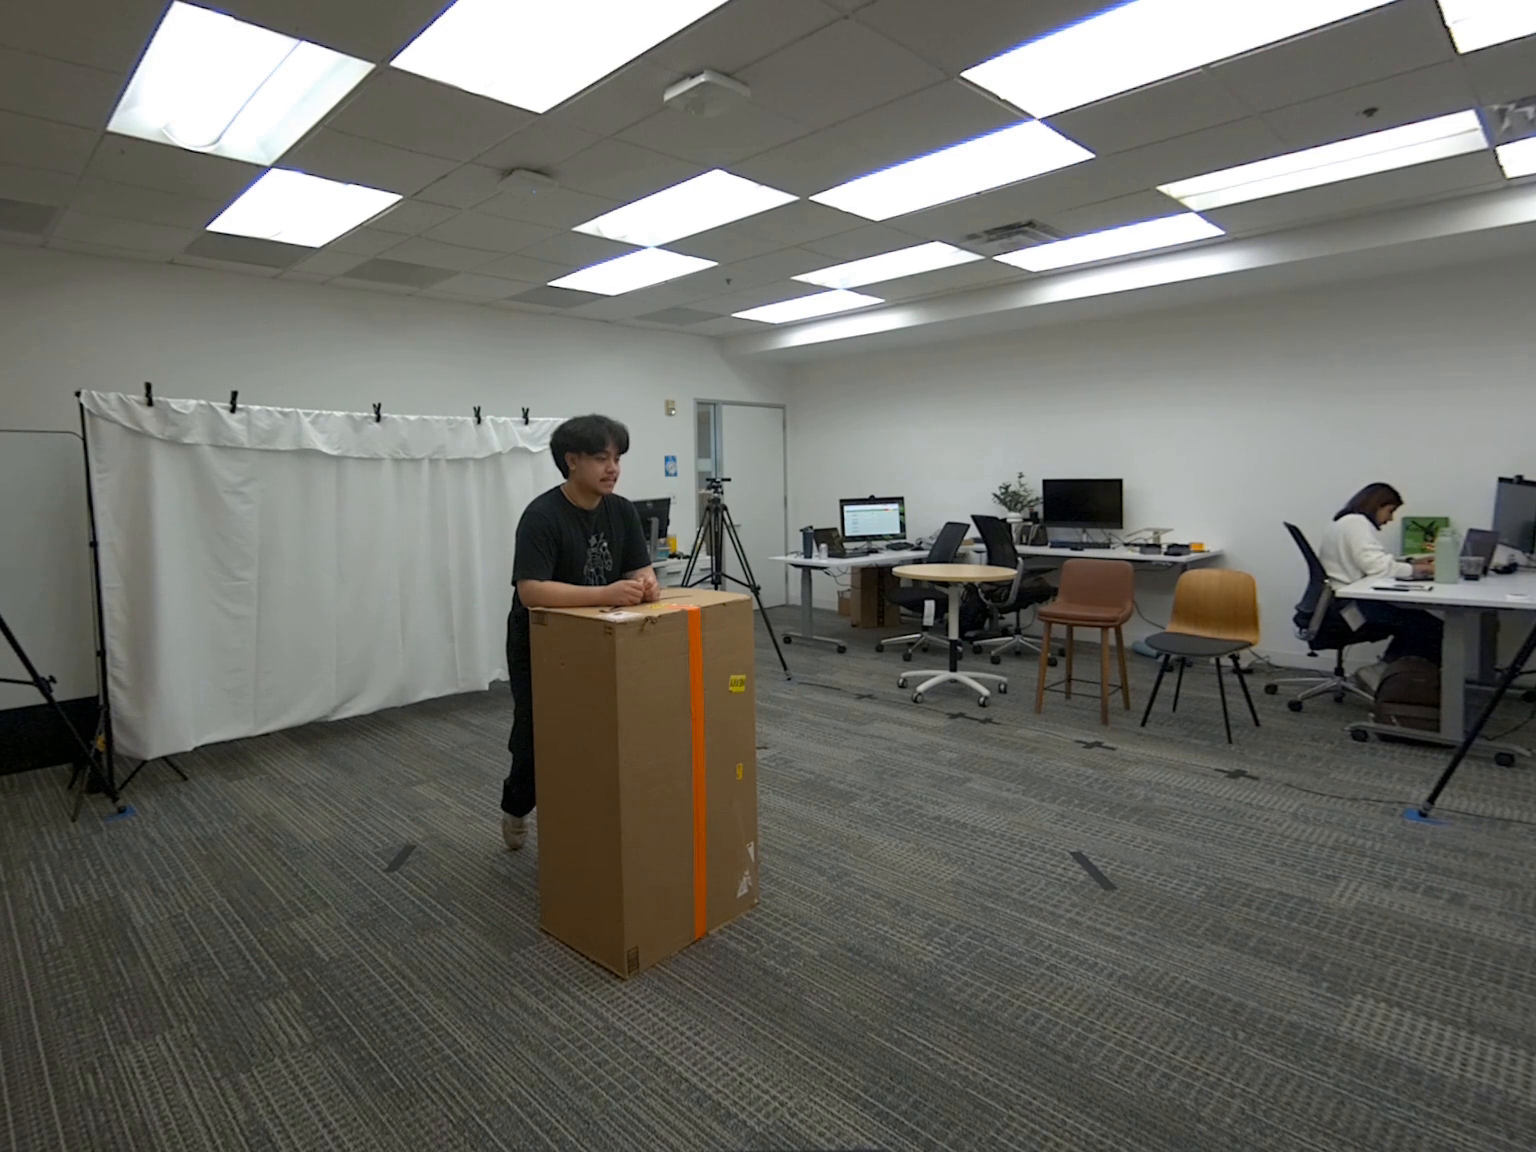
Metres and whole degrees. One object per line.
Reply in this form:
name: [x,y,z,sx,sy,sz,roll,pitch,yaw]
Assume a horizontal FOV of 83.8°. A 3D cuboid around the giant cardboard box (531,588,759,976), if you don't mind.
giant cardboard box: [-0.377,0.585,2.704,0.461,1.022,0.569,4,7,43]
